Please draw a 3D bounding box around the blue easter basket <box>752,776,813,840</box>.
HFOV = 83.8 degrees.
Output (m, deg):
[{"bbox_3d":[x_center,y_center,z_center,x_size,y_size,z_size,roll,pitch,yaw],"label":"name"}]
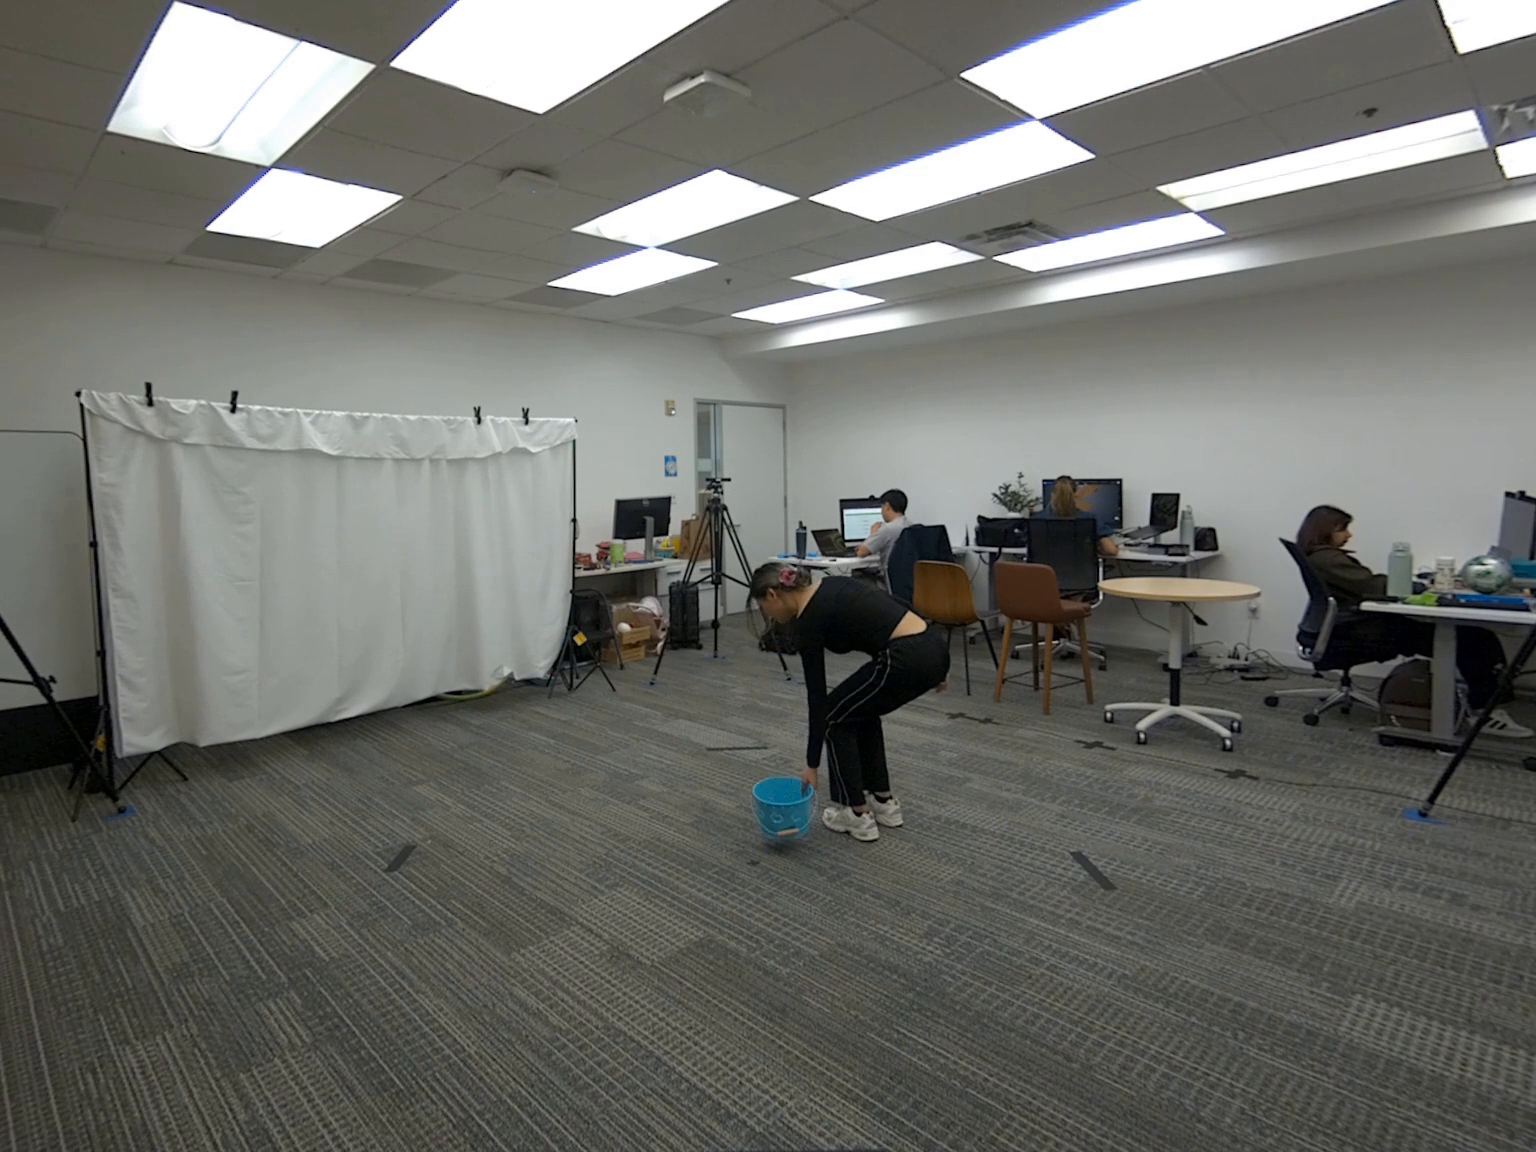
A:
[{"bbox_3d":[0.058,0.876,3.234,0.243,0.154,0.246,-3,10,-1],"label":"blue easter basket"}]
